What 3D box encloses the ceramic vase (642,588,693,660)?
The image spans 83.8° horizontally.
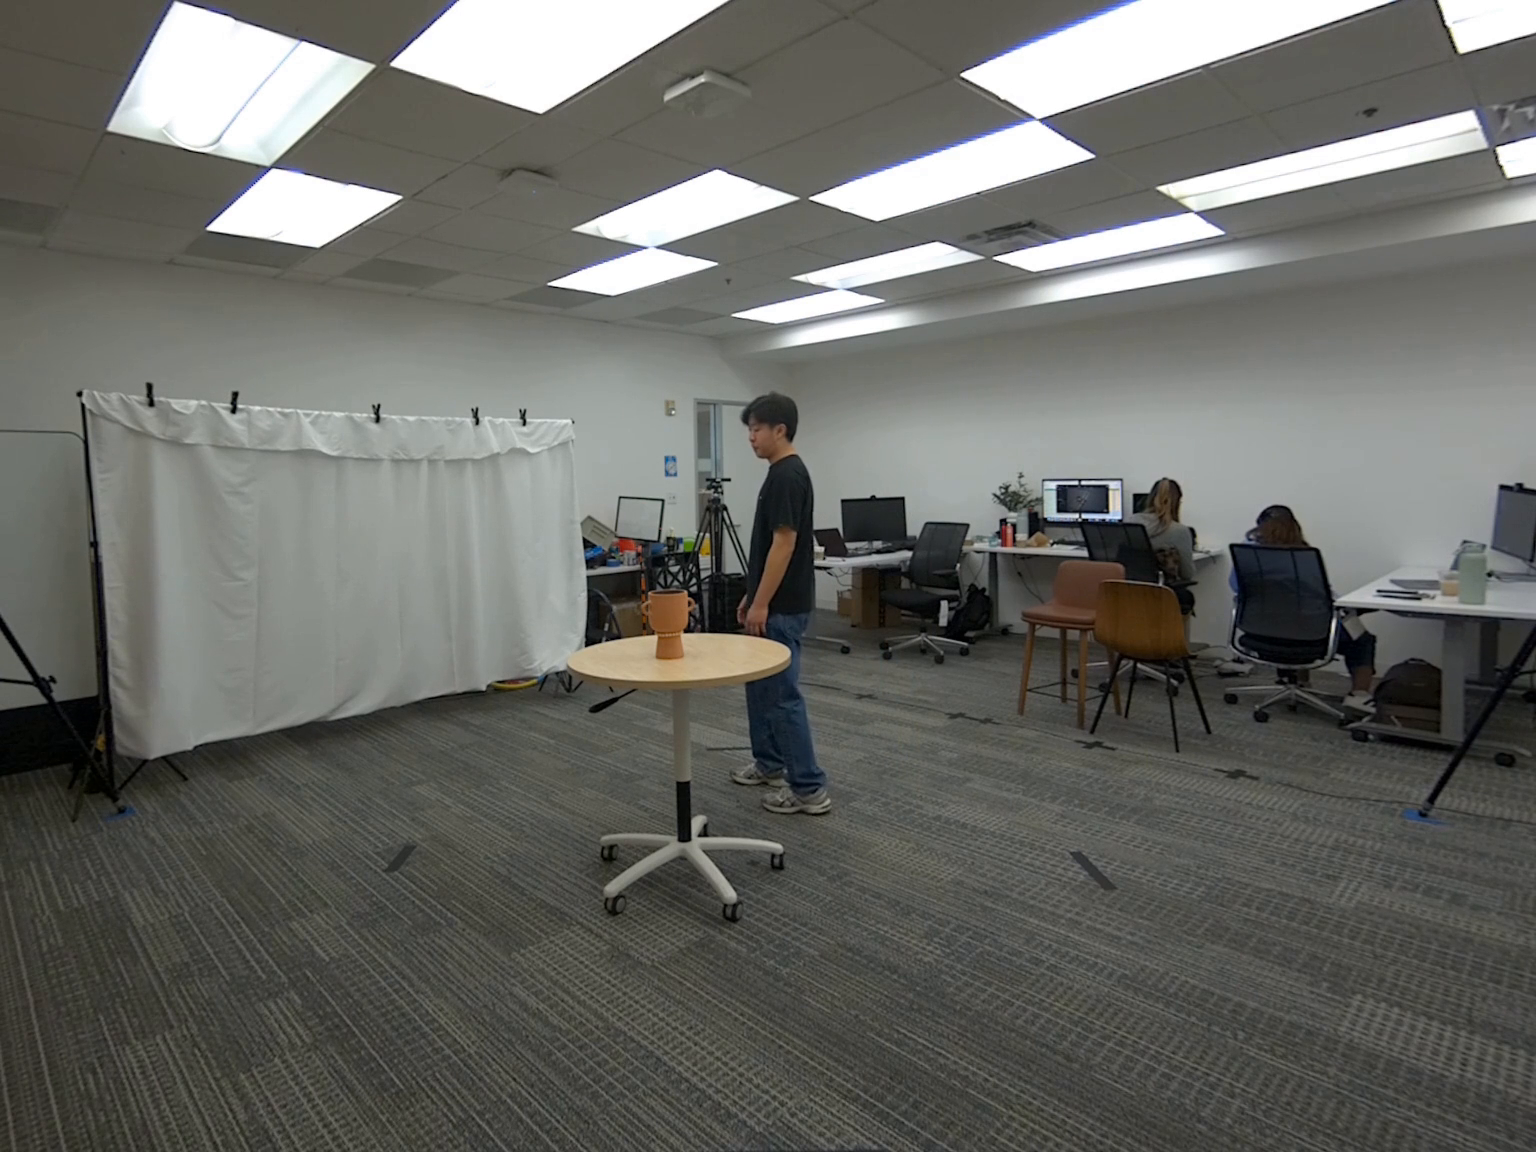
[{"bbox_3d":[-0.336,0.167,2.896,0.160,0.219,0.134,-1,5,11],"label":"ceramic vase"}]
